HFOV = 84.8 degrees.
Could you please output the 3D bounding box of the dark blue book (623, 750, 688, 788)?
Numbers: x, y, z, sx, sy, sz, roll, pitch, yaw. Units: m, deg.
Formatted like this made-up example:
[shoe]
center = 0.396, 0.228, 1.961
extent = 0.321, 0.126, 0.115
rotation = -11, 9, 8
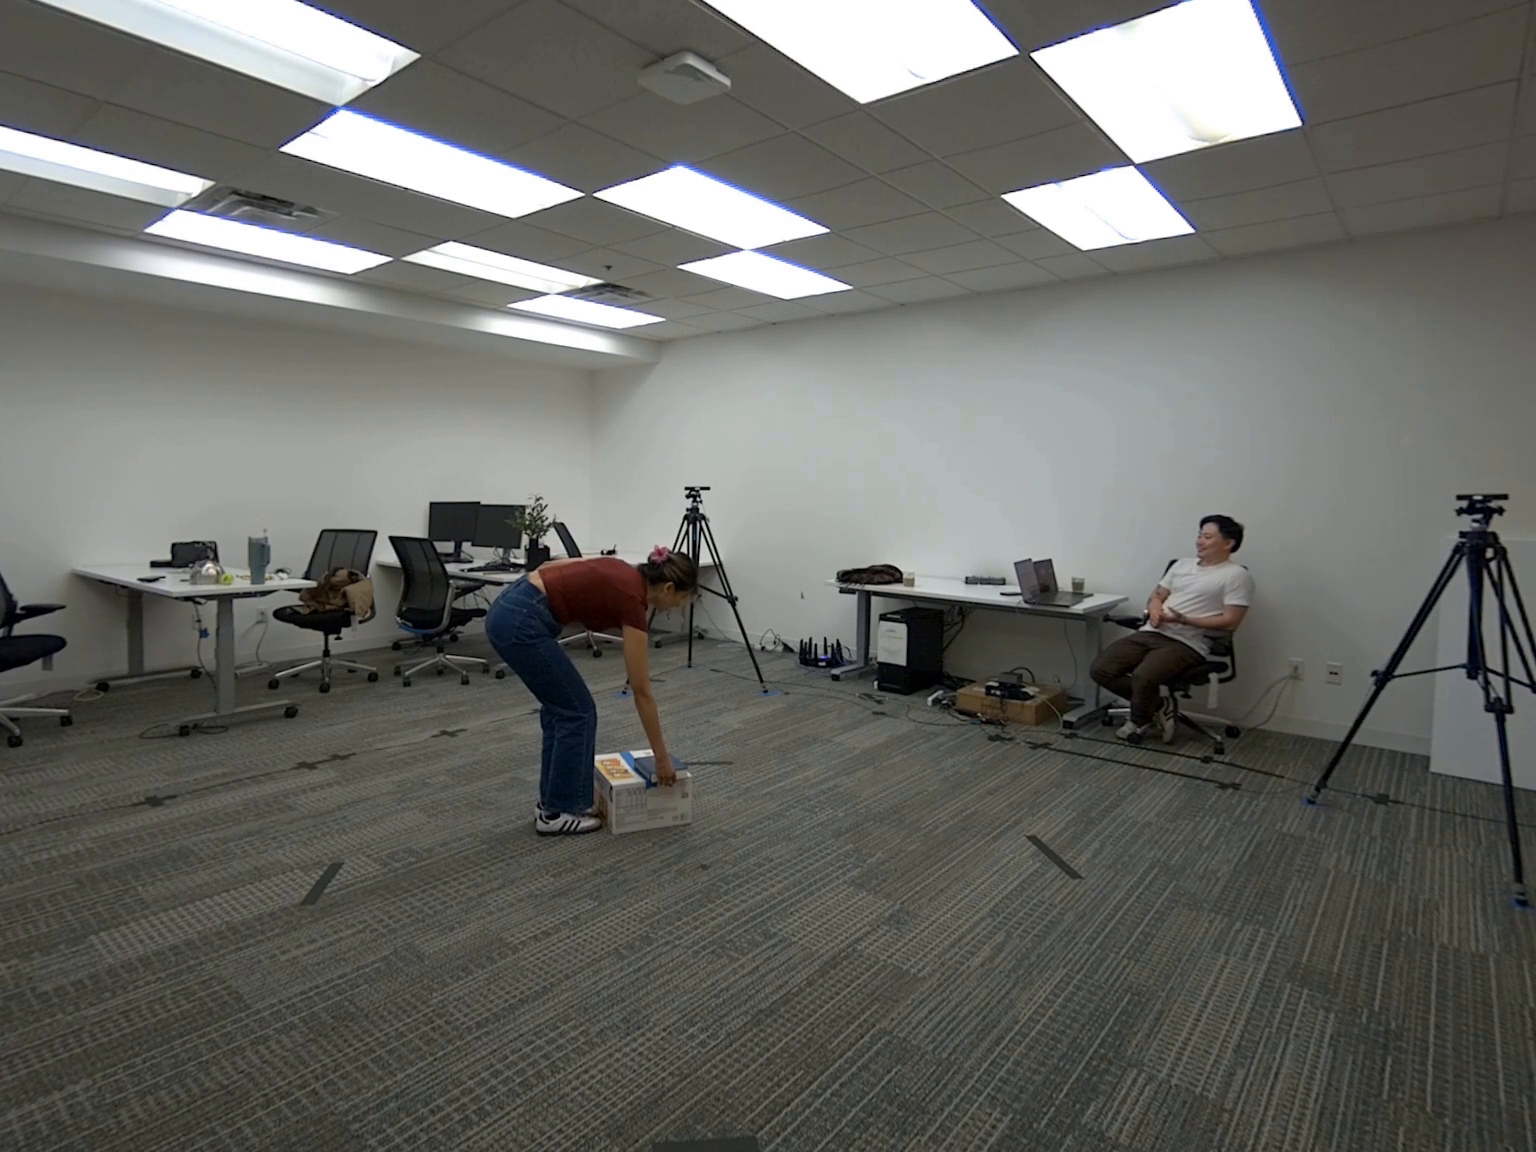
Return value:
[dark blue book]
center = -0.466, 0.804, 3.561
extent = 0.160, 0.045, 0.251
rotation = -5, 6, -23
